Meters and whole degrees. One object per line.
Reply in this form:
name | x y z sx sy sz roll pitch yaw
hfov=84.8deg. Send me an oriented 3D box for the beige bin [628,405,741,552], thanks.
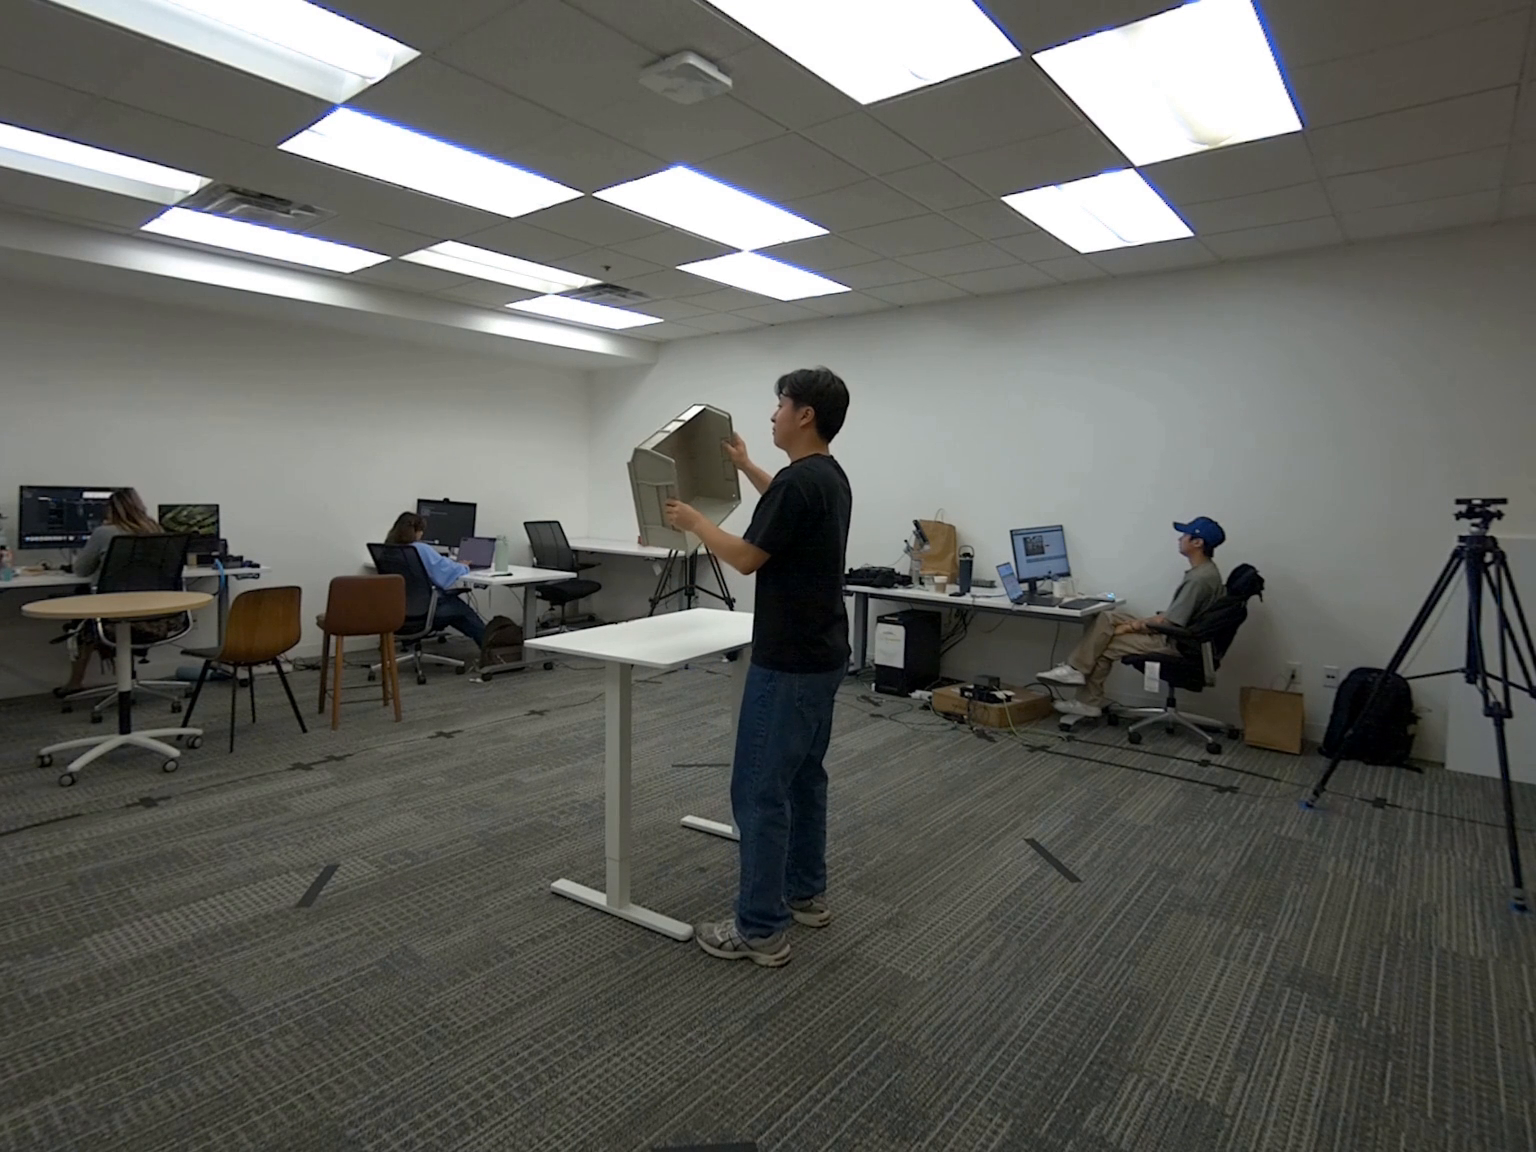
beige bin | -0.280 -0.336 2.895 0.194 0.367 0.423 6 33 22
